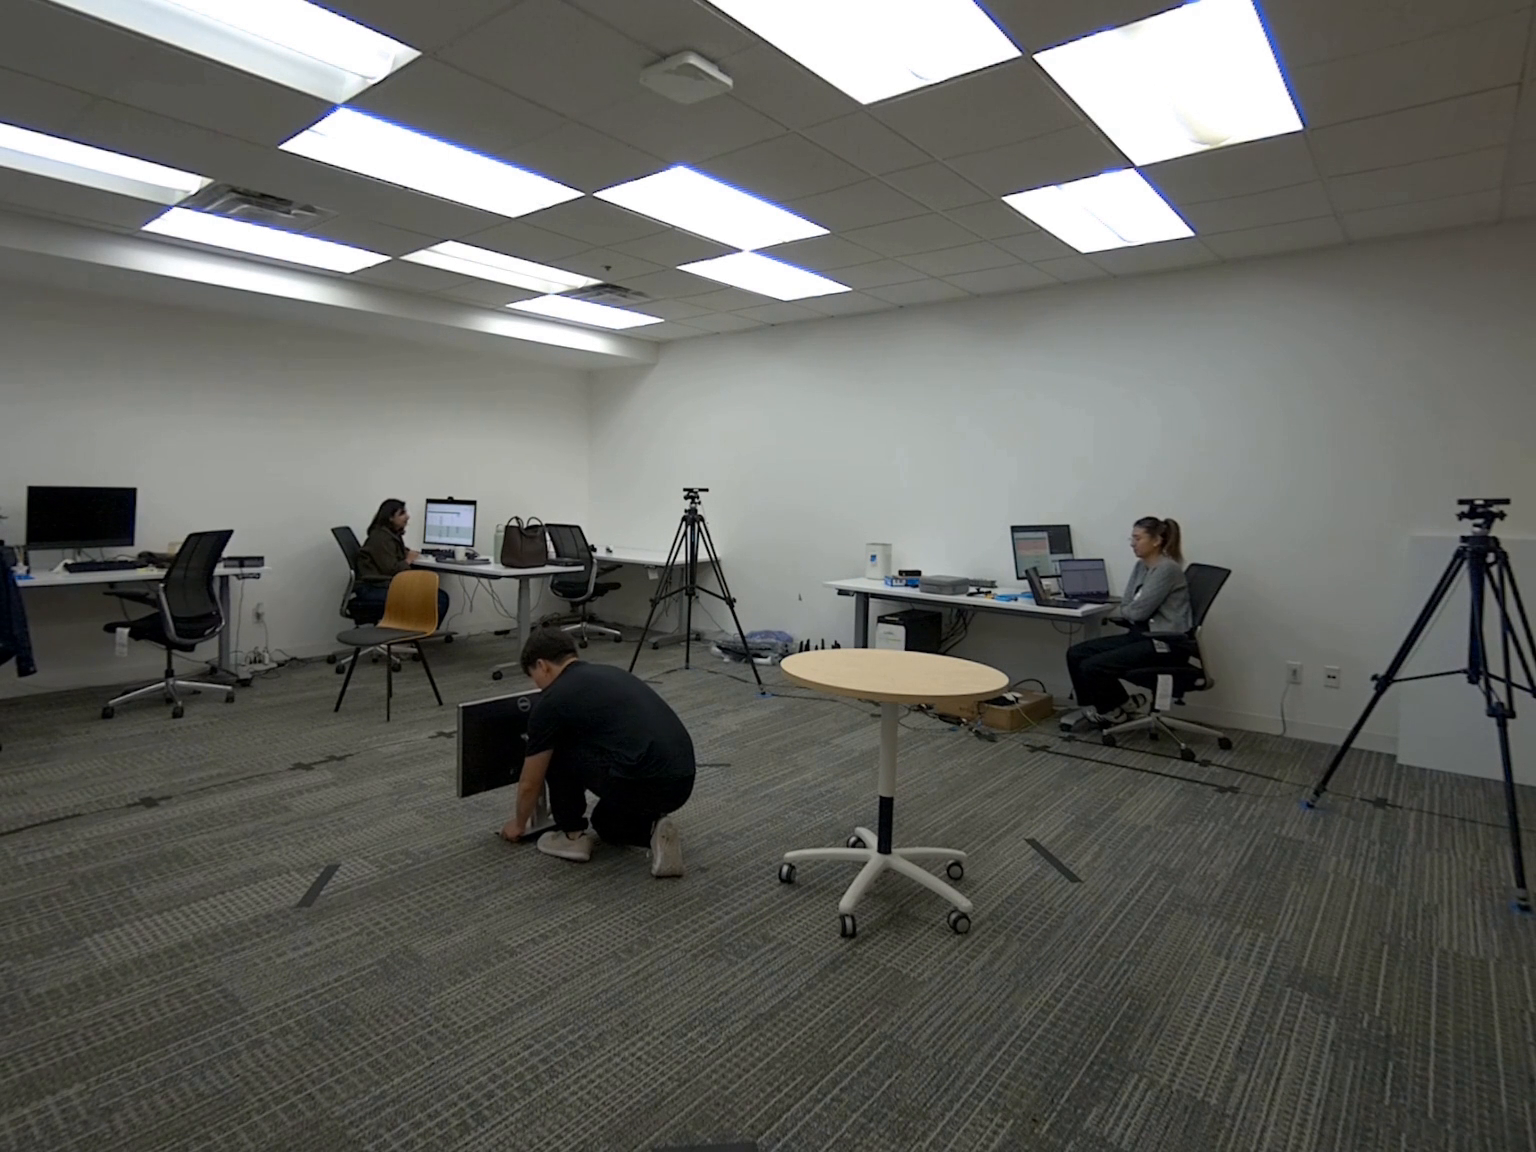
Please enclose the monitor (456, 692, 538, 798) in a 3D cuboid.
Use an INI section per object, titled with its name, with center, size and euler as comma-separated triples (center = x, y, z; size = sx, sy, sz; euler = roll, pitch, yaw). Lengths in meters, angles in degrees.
[monitor]
center = -1.002, 0.747, 3.462
size = 0.192, 0.525, 0.523
euler = -11, -4, 38
